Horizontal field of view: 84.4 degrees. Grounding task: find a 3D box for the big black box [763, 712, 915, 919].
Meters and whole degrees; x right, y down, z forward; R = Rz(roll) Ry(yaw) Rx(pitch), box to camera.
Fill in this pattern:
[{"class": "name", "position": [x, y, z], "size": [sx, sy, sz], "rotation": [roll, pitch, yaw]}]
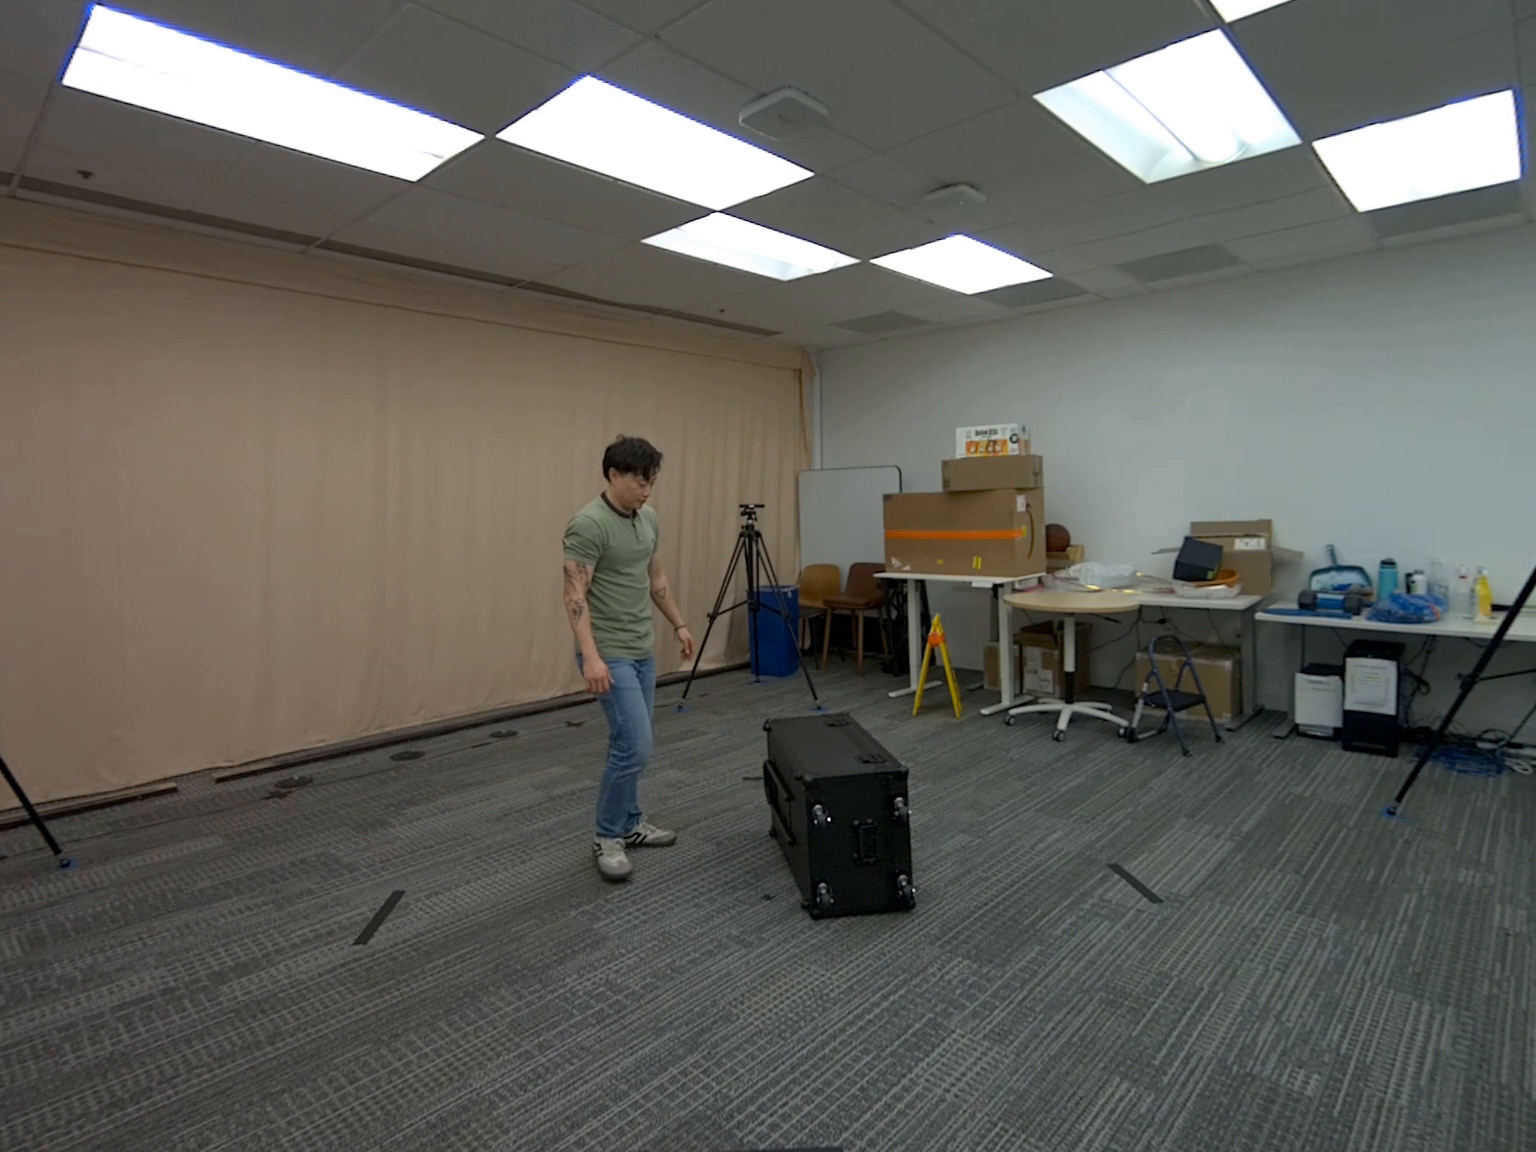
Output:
[{"class": "big black box", "position": [0.238, 0.862, 3.164], "size": [0.393, 0.520, 0.871], "rotation": [-4, 5, -10]}]
